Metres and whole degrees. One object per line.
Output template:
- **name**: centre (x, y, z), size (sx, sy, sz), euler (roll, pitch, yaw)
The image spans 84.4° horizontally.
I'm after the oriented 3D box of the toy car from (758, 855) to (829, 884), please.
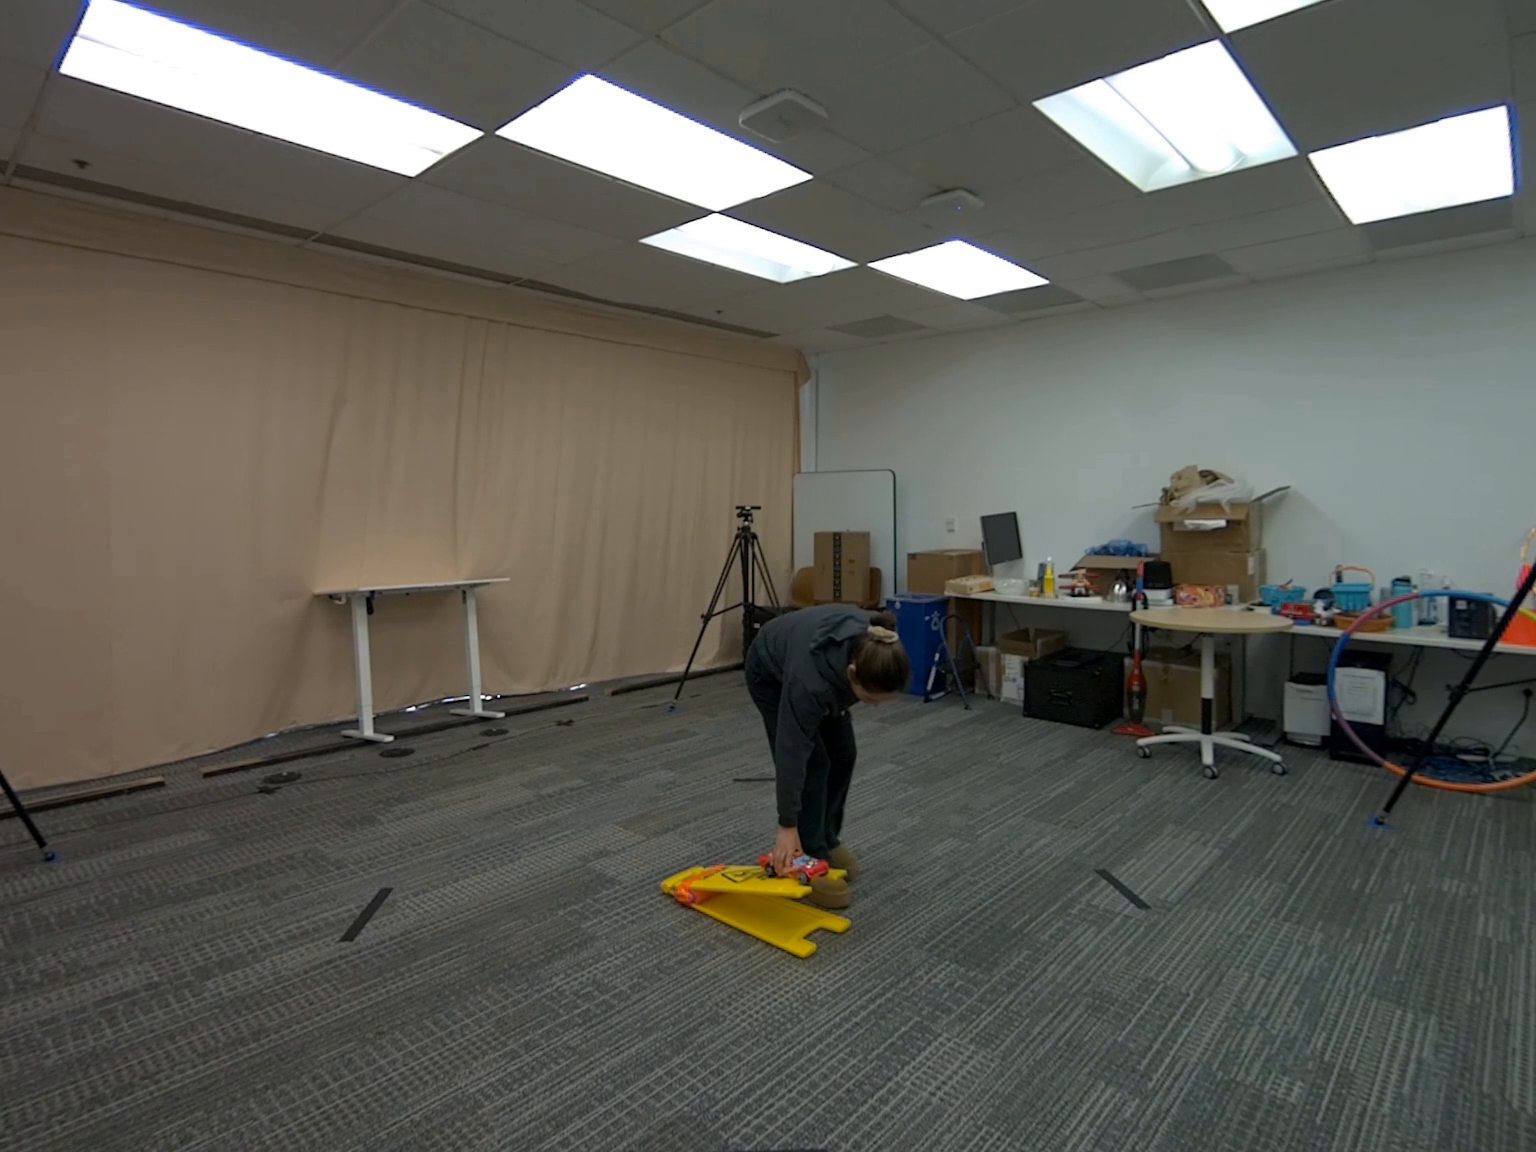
- **toy car**: centre (0.104, 0.963, 2.794), size (0.126, 0.083, 0.263), euler (-4, 4, -41)
